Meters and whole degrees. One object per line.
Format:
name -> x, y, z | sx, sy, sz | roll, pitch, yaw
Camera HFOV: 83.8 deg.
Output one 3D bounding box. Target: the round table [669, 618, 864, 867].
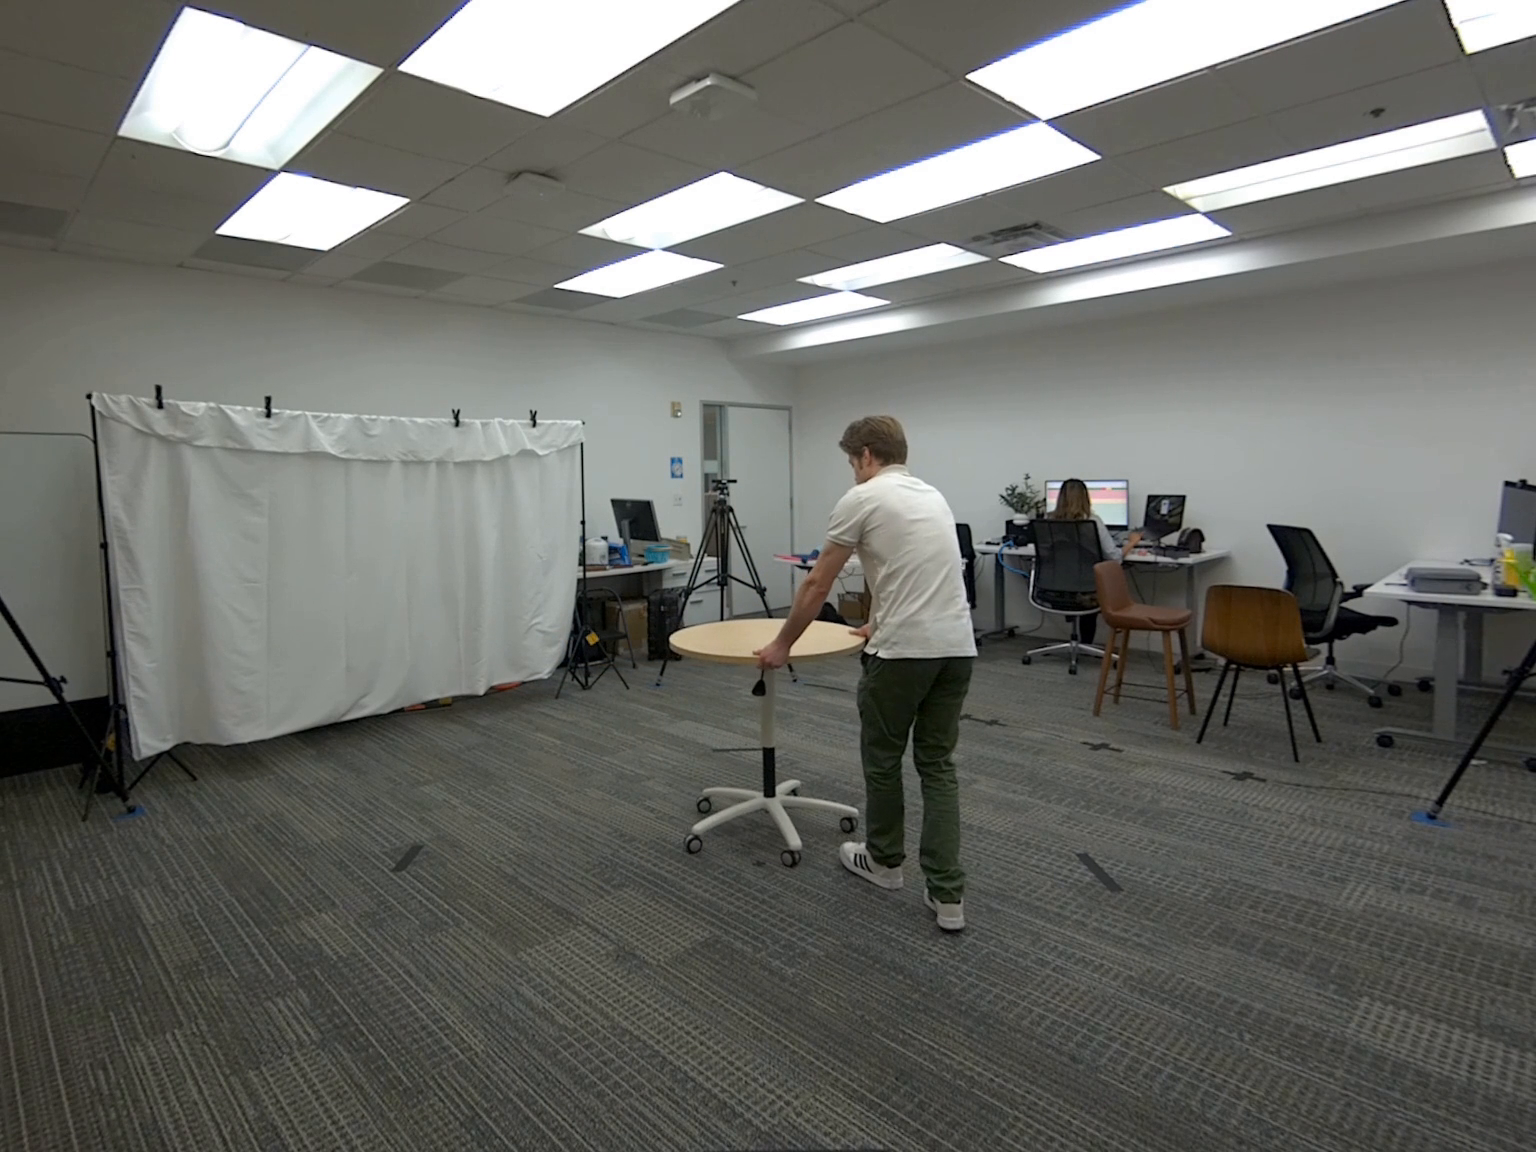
round table -> 0.009, 0.623, 3.373 | 0.784, 0.783, 0.789 | -1, 5, -2
